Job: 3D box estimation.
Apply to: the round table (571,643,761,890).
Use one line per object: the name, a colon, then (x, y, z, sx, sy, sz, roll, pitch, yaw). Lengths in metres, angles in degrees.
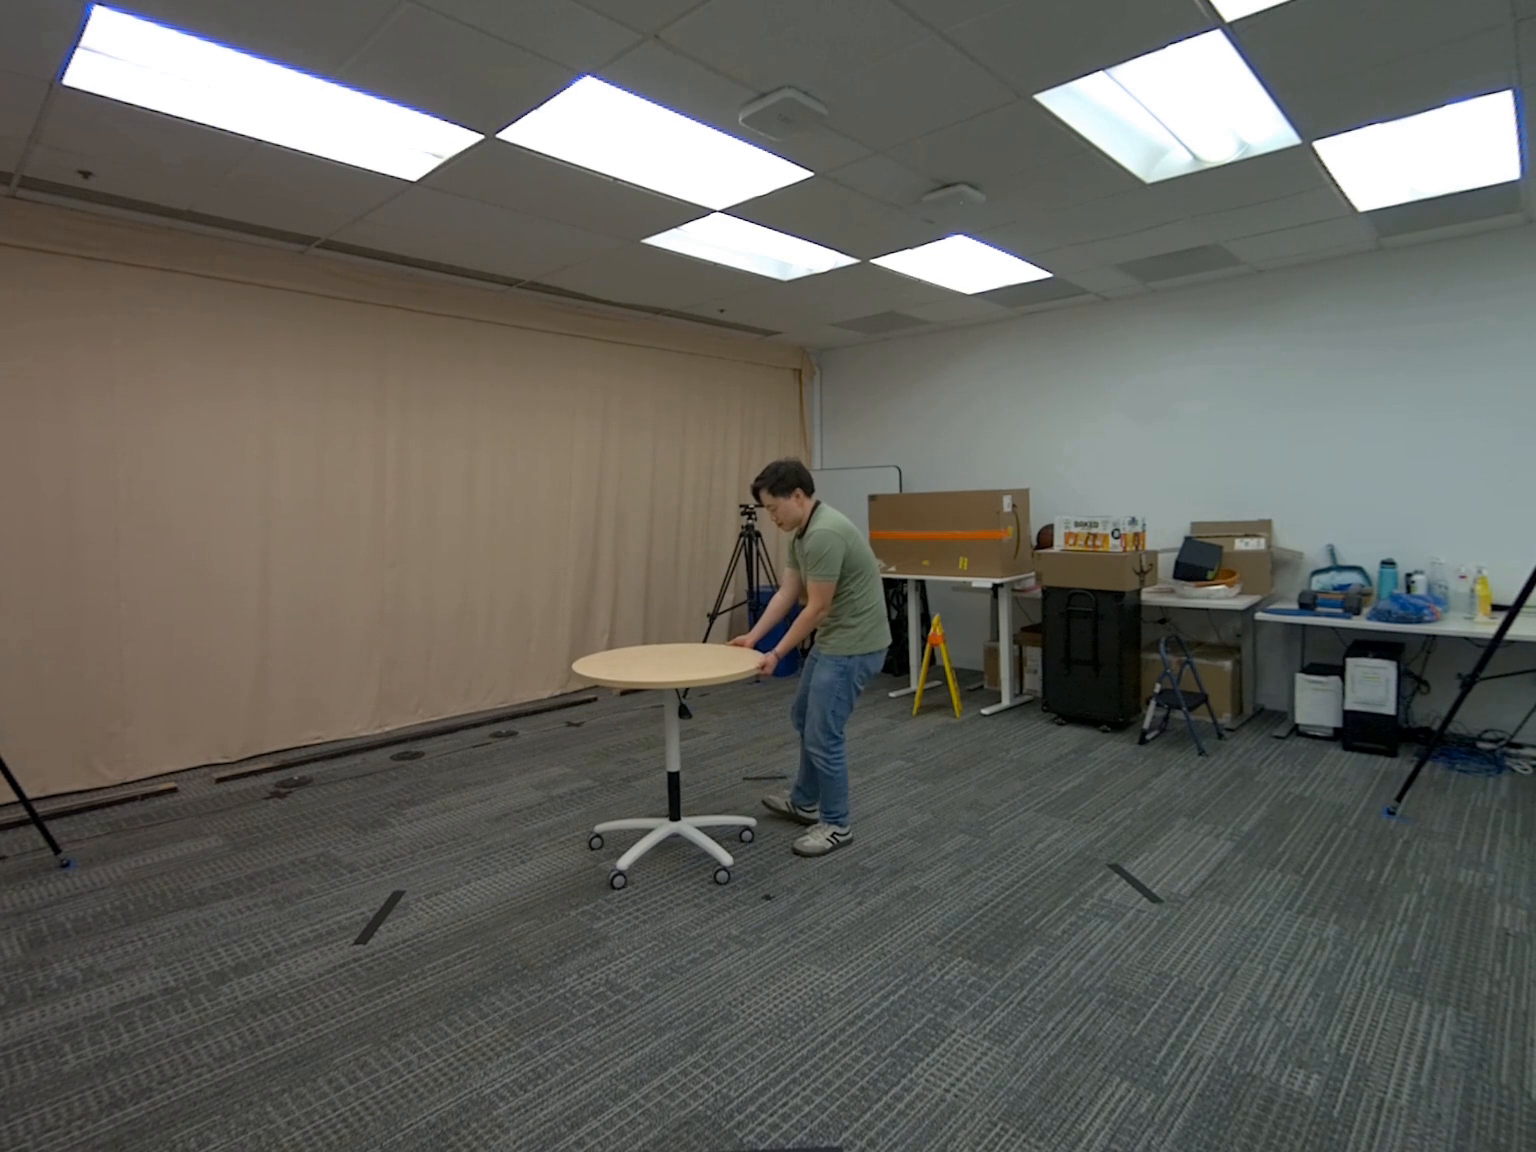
round table: (-0.386, 0.729, 3.353, 0.763, 0.792, 0.767, -2, 4, -2)
